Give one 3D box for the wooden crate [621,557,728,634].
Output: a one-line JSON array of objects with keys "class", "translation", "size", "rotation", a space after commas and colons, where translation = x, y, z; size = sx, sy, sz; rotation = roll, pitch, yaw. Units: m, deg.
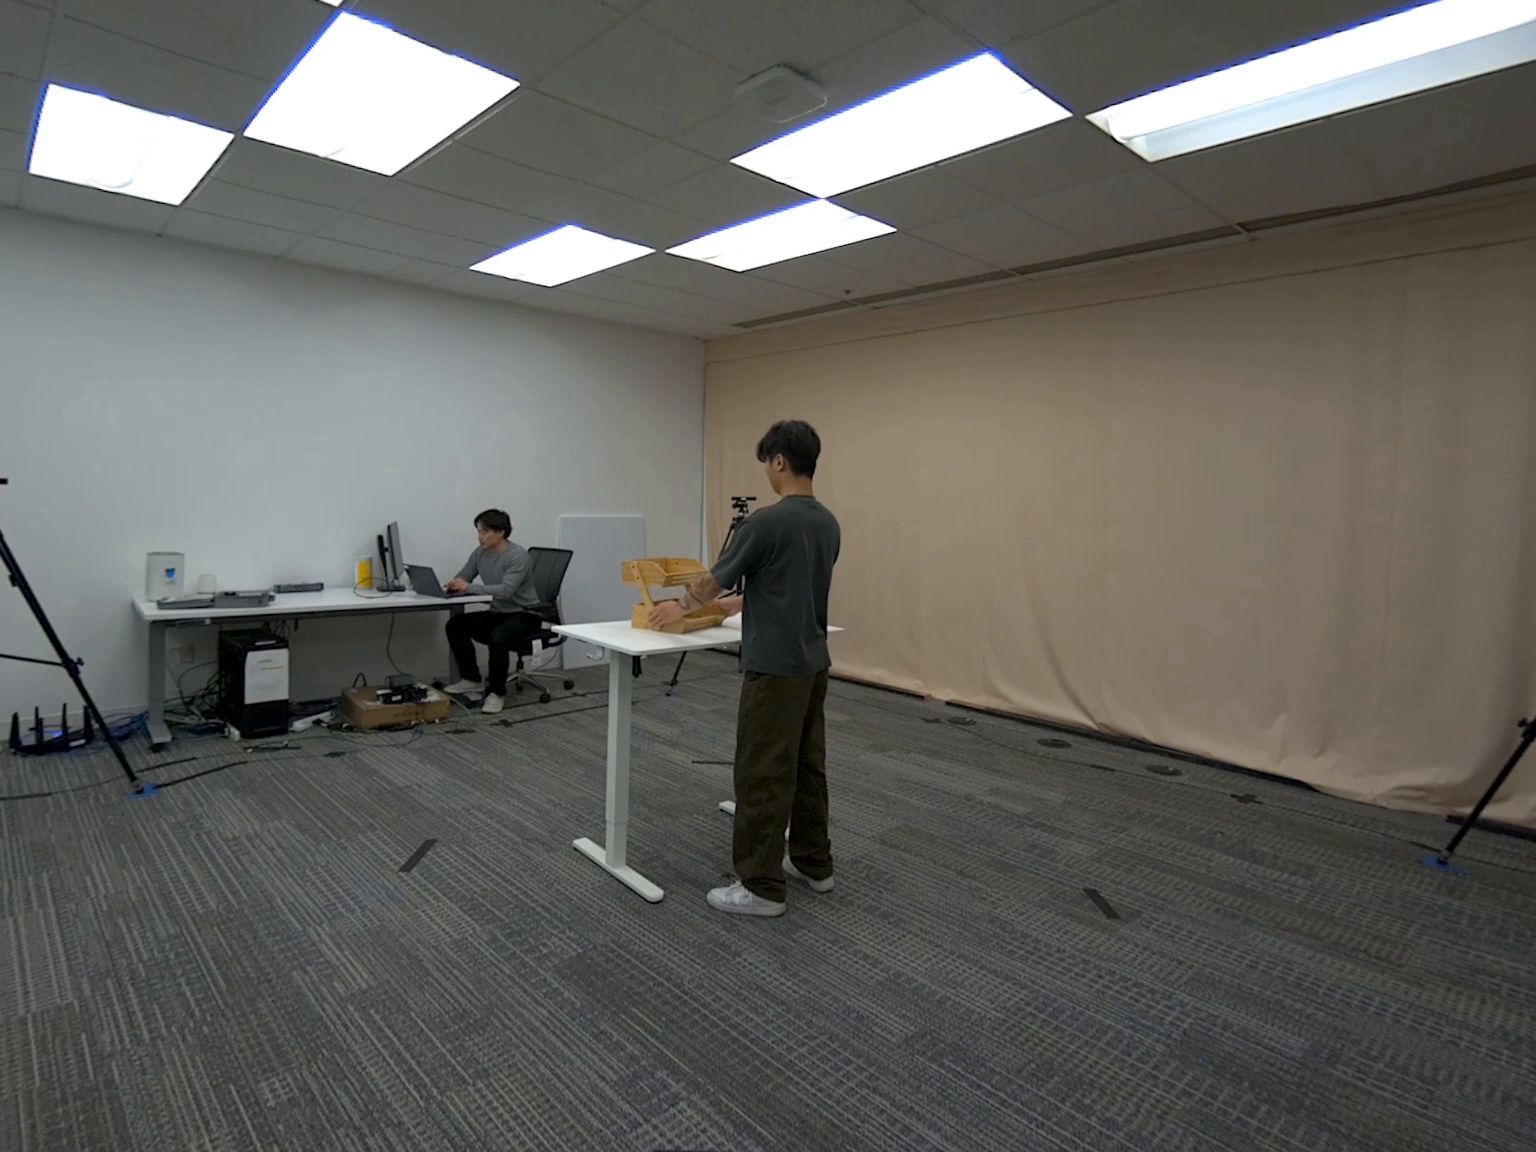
[{"class": "wooden crate", "translation": [-0.371, 0.067, 3.326], "size": [0.308, 0.272, 0.318], "rotation": [4, 5, 28]}]
